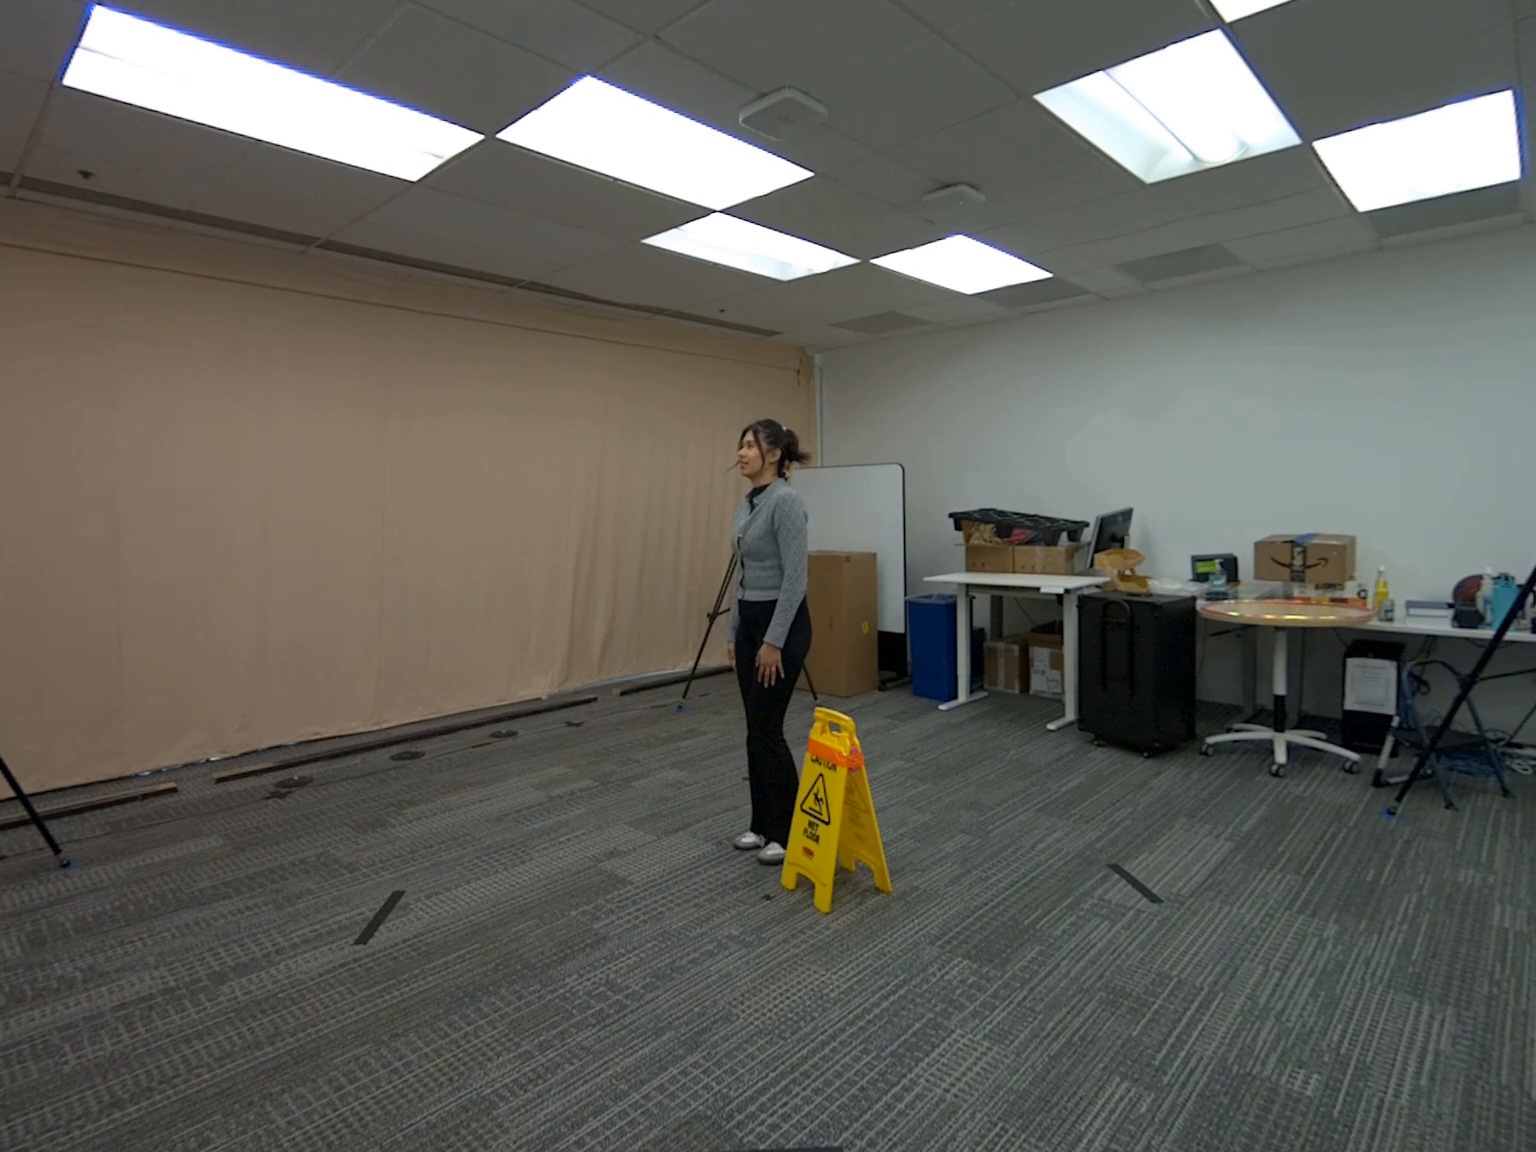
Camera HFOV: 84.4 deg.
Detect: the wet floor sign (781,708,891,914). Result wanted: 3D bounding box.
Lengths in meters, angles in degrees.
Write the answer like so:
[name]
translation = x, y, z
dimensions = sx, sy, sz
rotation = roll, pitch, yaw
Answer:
[wet floor sign]
translation = 0.243, 0.807, 3.023
dimensions = 0.282, 0.645, 0.291
rotation = -3, 4, -32
